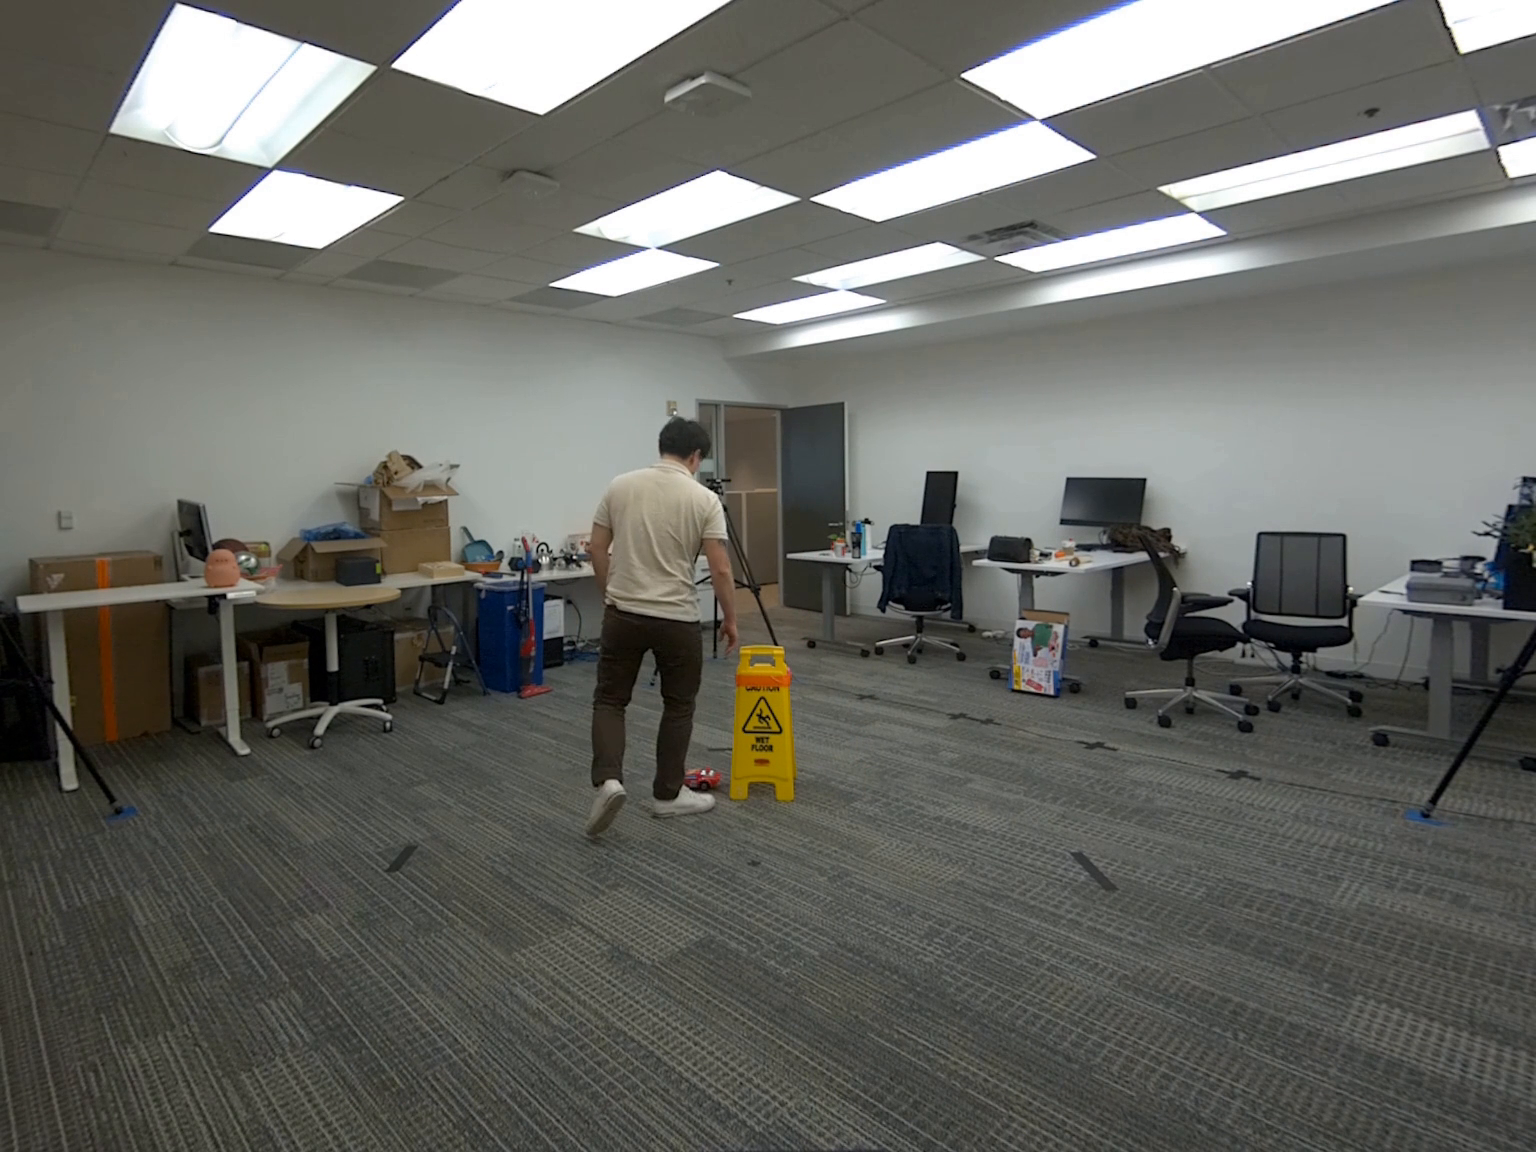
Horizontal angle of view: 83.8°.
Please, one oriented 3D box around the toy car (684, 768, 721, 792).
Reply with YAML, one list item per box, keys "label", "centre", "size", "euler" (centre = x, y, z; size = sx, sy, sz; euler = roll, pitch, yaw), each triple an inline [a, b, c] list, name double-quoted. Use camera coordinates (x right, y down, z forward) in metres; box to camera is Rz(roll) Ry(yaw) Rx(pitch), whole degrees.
- label: "toy car"
  centre: [-0.332, 0.928, 3.899]
  size: [0.256, 0.083, 0.130]
  euler: [-11, 3, 8]
